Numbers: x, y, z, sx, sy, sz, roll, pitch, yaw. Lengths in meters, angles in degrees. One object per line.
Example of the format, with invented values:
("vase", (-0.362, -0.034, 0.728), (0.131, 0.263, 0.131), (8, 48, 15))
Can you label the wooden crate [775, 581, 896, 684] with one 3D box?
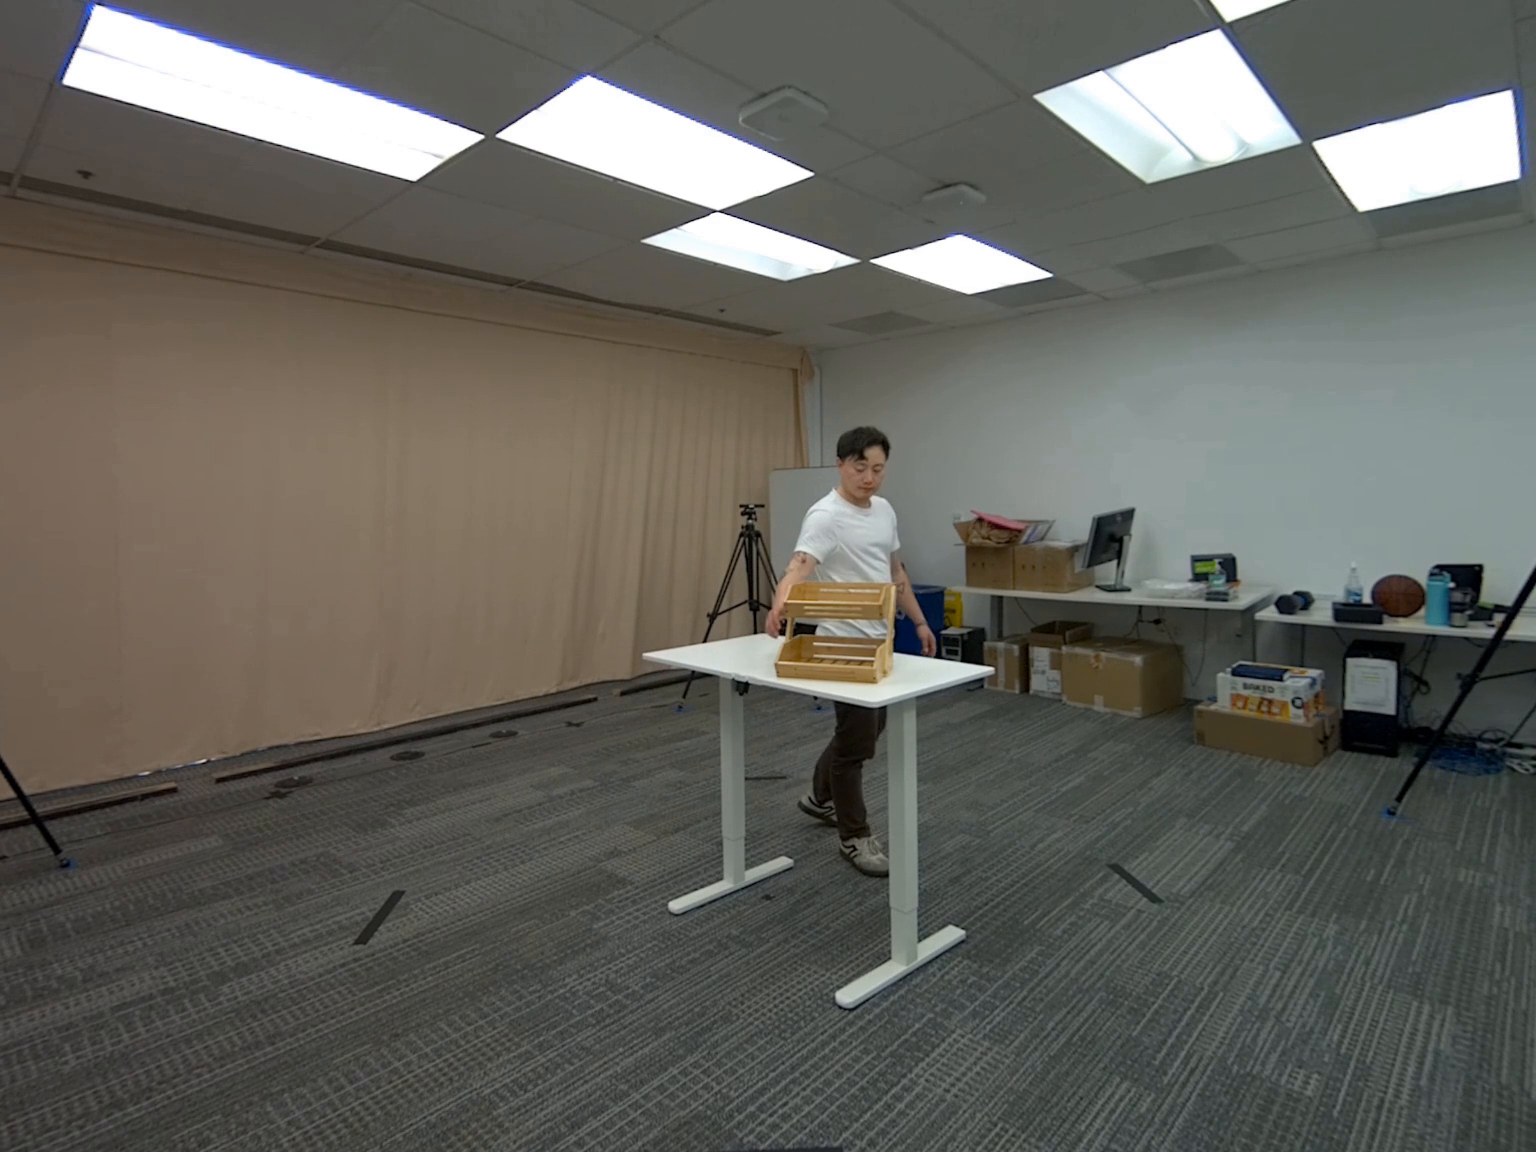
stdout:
("wooden crate", (0.210, 0.161, 2.548), (0.332, 0.273, 0.296), (1, 3, 21))
